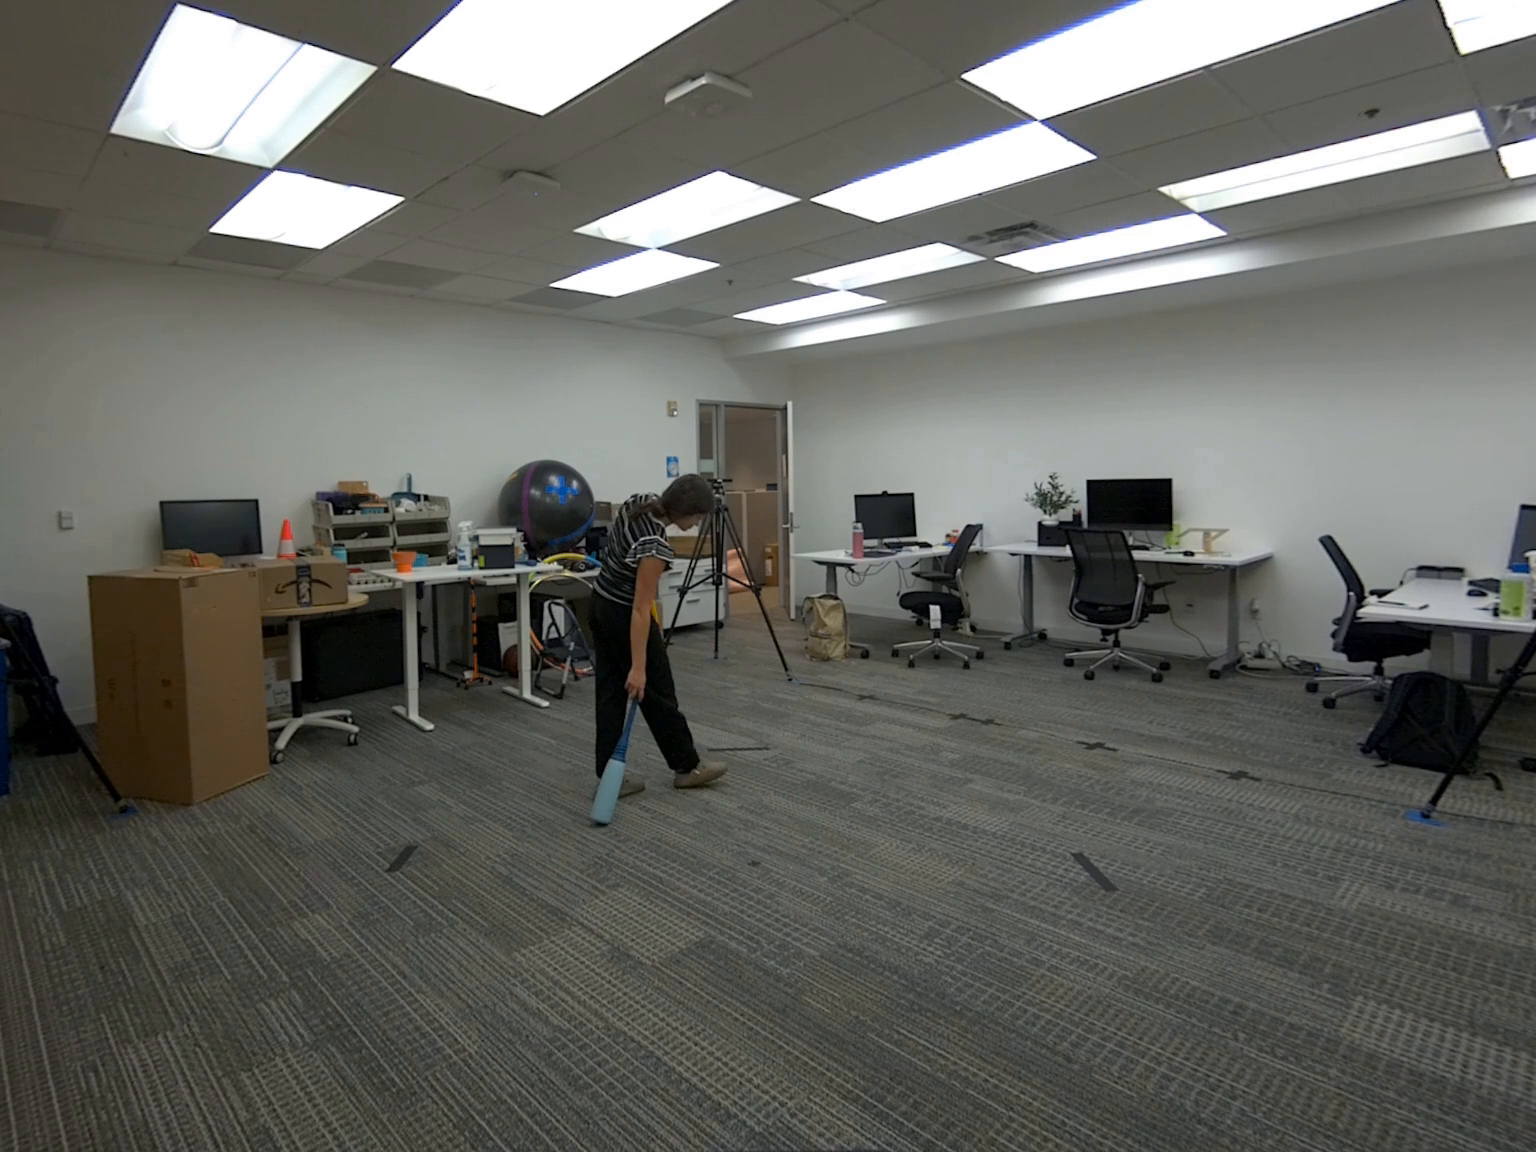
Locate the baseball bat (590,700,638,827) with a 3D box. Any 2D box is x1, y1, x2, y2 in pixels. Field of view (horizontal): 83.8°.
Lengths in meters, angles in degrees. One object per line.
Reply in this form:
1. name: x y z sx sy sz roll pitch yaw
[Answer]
1. baseball bat: -0.624 0.757 3.567 0.089 0.549 0.087 13 -20 3
